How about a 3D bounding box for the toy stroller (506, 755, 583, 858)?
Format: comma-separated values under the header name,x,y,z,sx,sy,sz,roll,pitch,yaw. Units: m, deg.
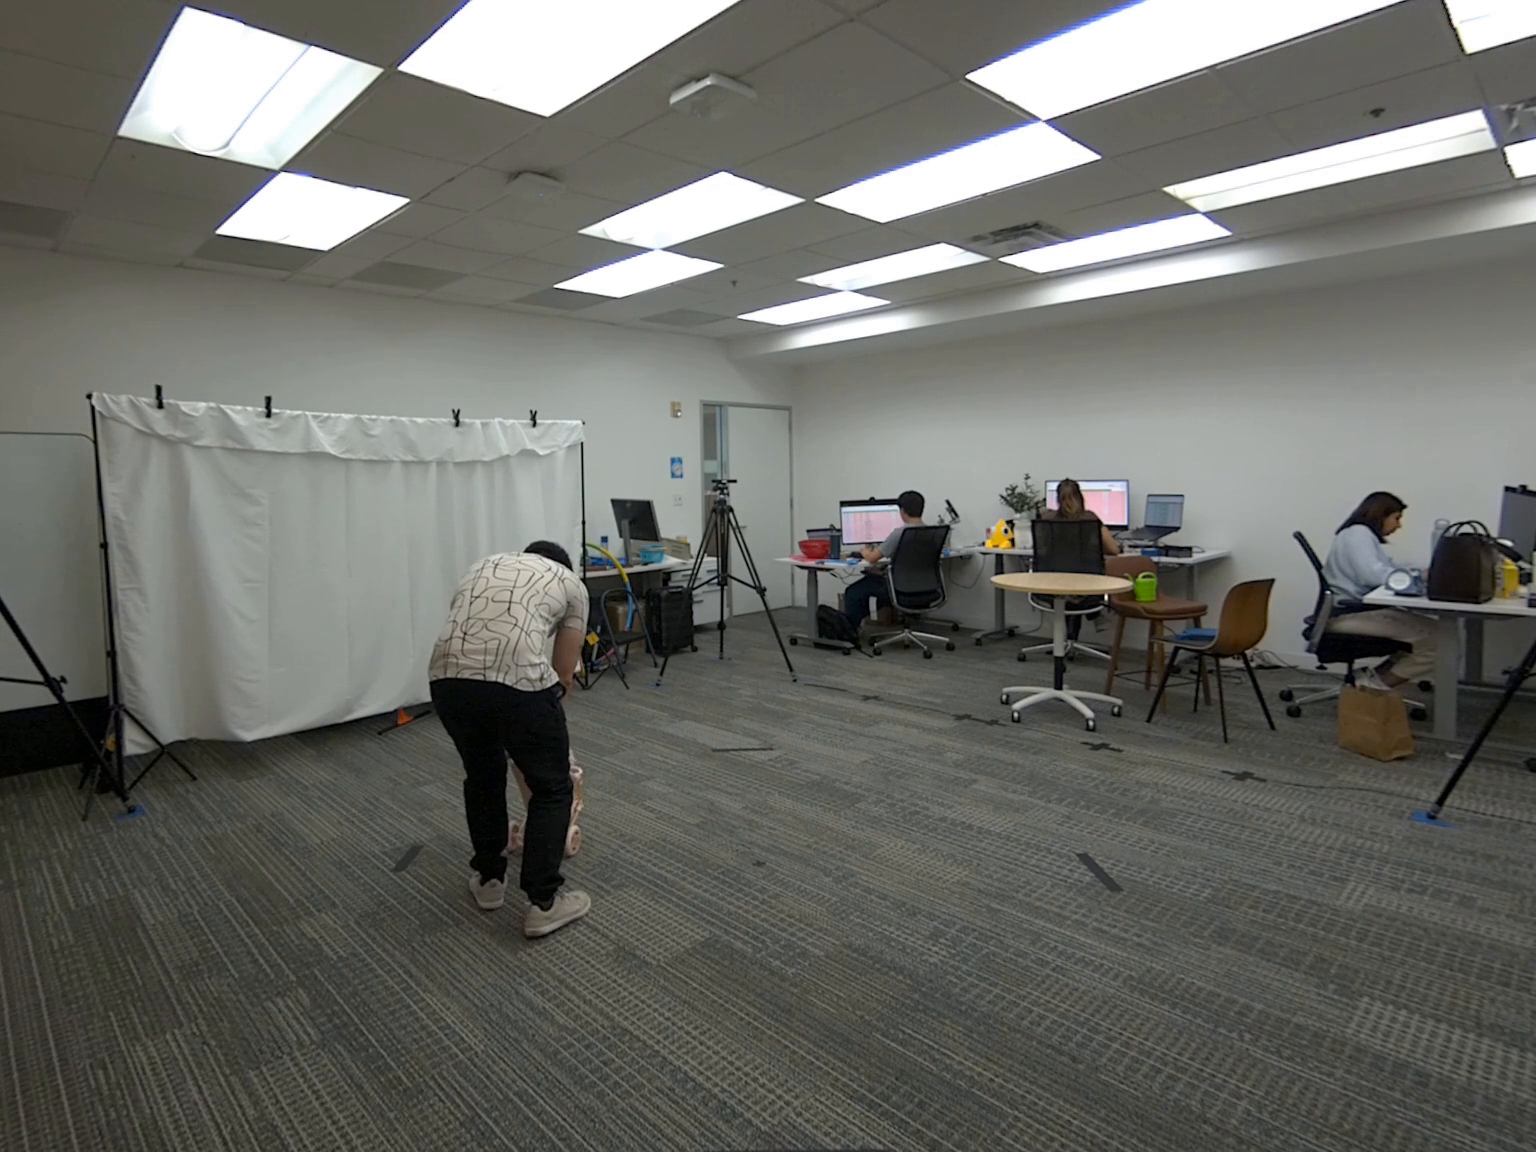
name,x,y,z,sx,sy,sz,roll,pitch,yaw
toy stroller,-0.841,0.818,3.294,0.286,0.526,0.342,1,20,15
